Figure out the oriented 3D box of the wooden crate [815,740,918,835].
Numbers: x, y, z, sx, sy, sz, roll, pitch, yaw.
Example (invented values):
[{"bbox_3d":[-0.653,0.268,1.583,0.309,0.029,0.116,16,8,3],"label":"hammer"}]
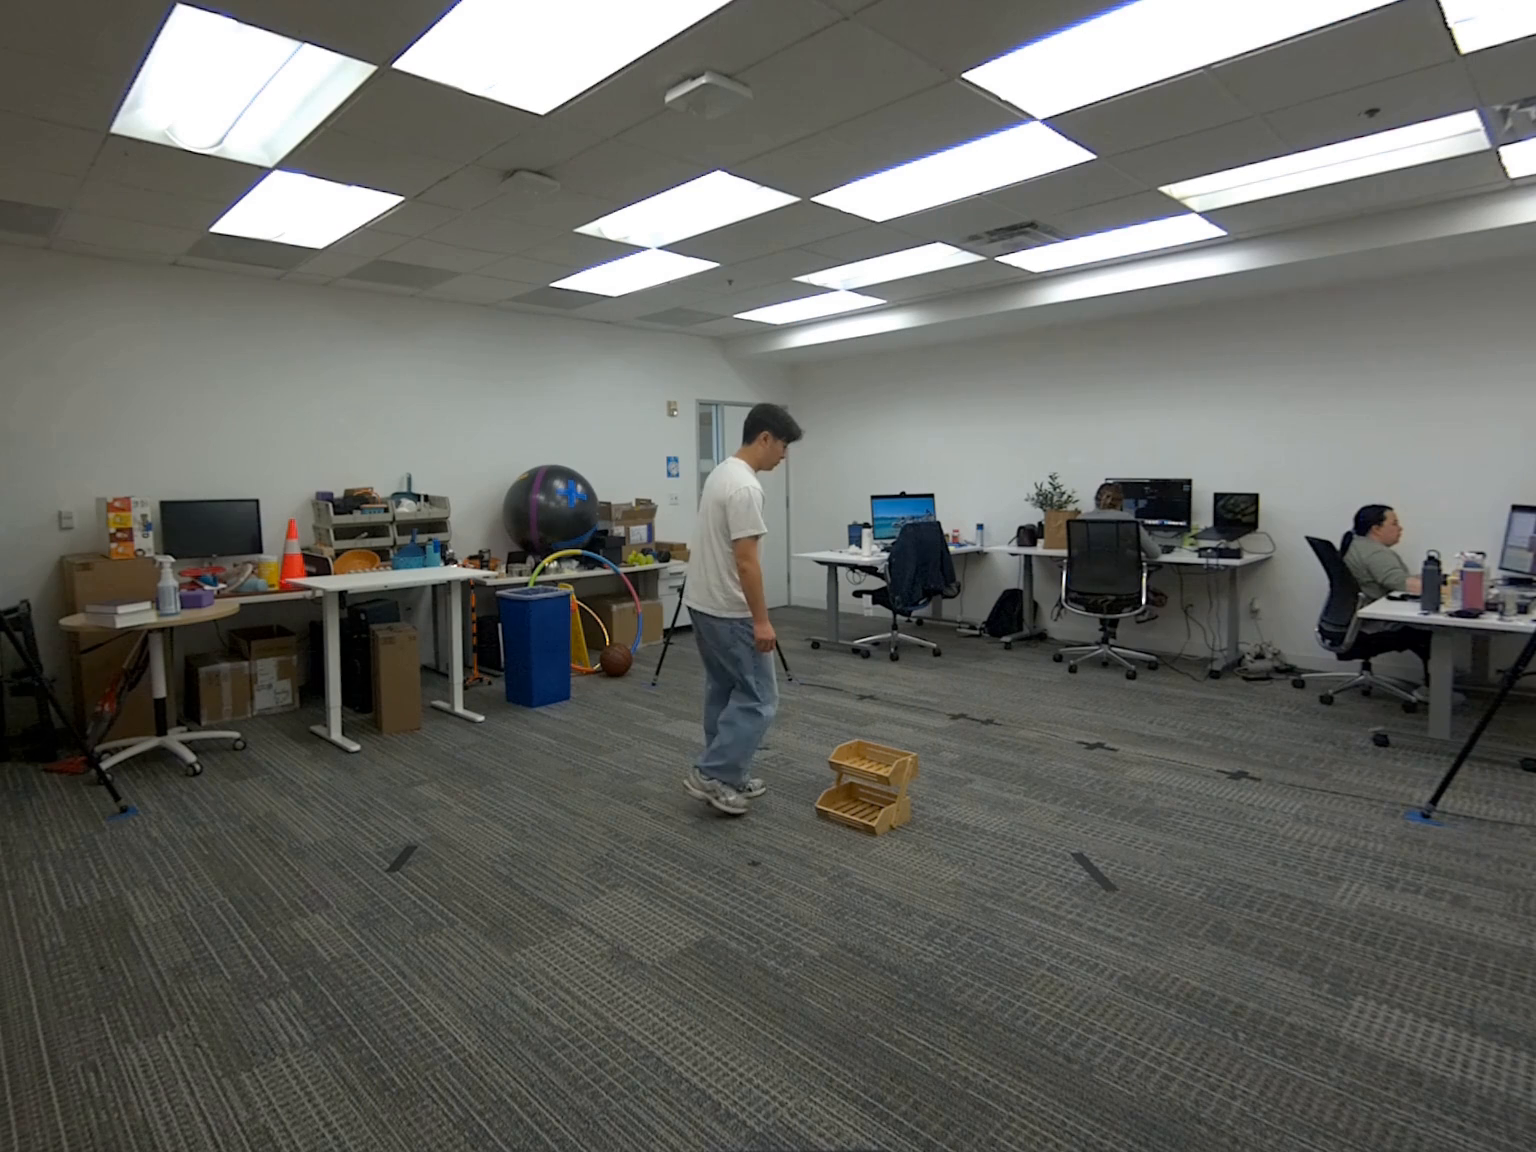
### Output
[{"bbox_3d":[0.403,0.856,3.512,0.334,0.272,0.294,4,6,44],"label":"wooden crate"}]
